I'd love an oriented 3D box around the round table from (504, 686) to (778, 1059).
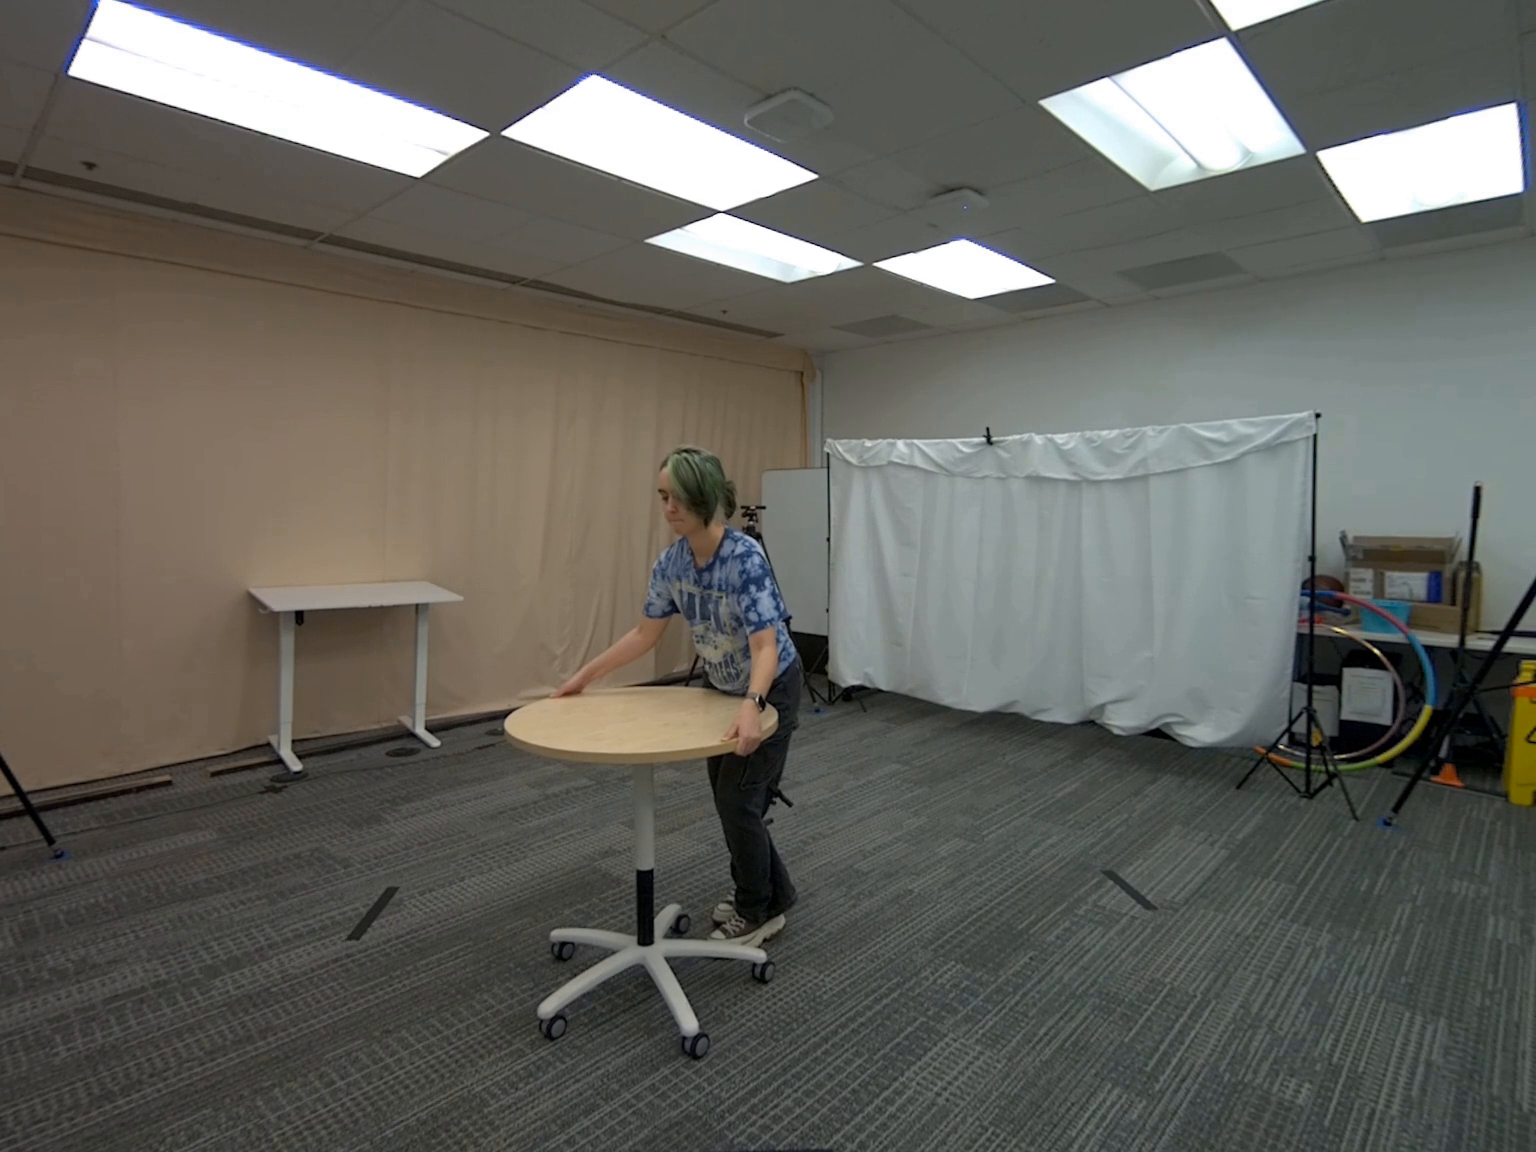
[{"bbox_3d":[-0.358,0.801,2.398,0.763,0.792,0.767,-1,4,-2],"label":"round table"}]
